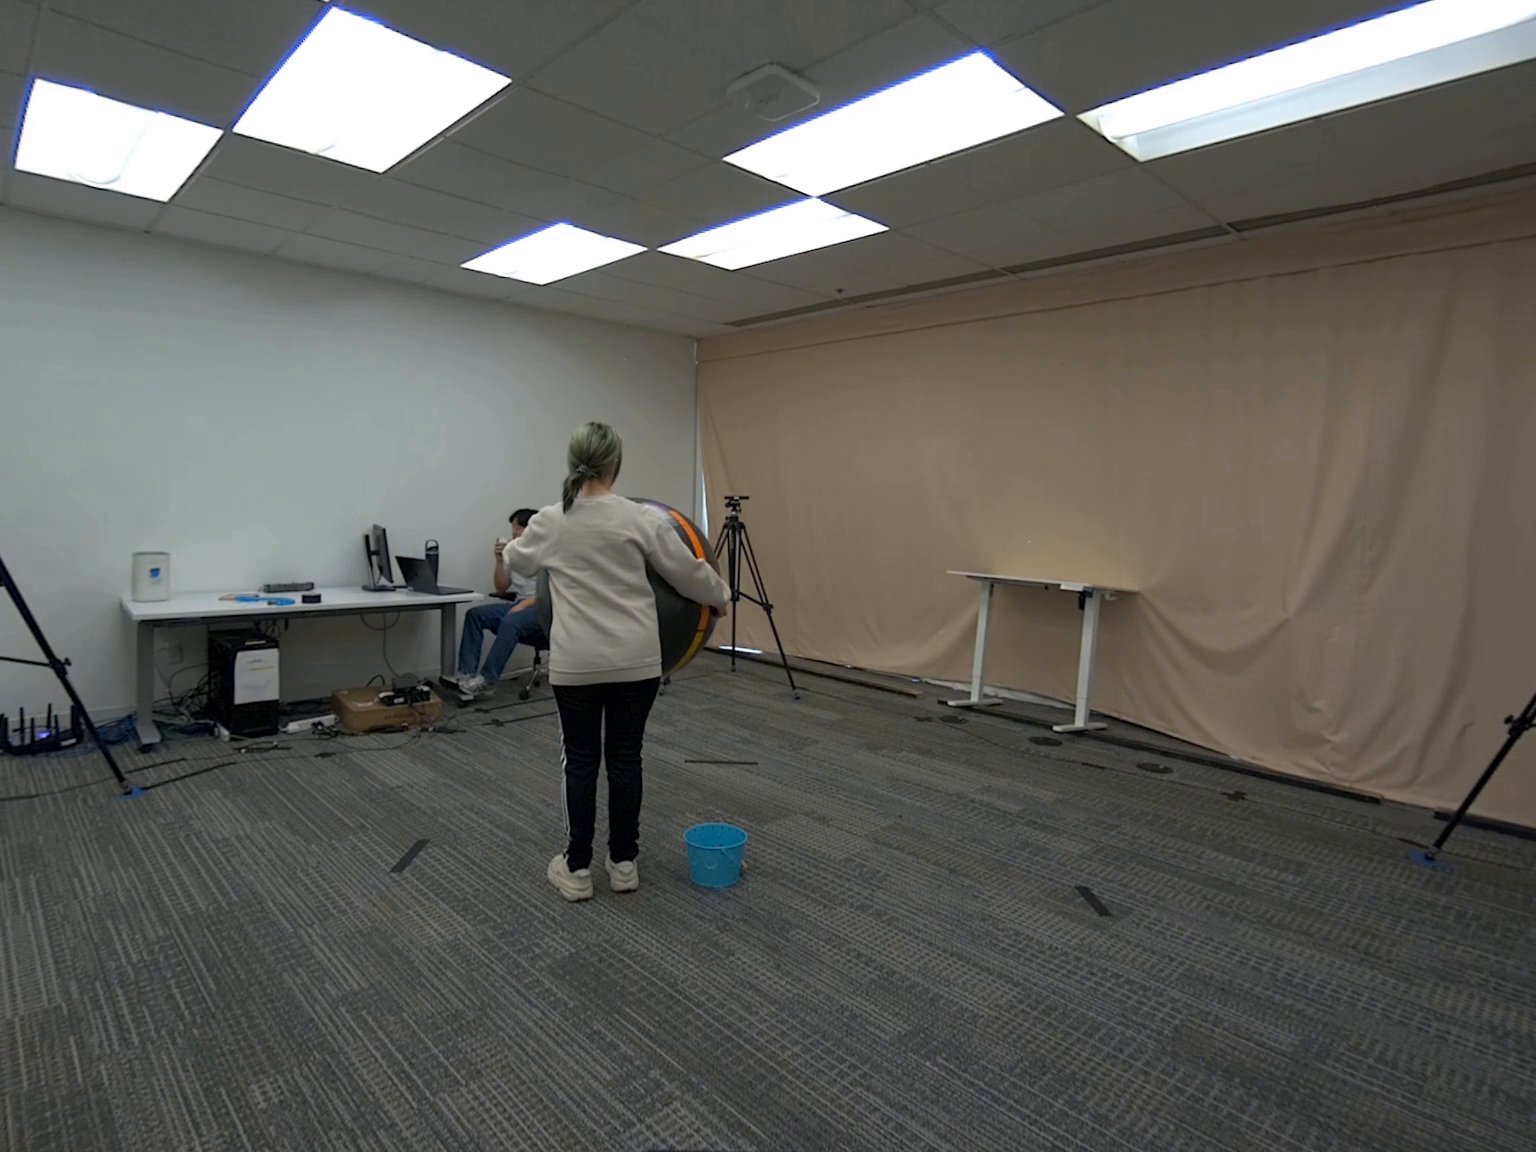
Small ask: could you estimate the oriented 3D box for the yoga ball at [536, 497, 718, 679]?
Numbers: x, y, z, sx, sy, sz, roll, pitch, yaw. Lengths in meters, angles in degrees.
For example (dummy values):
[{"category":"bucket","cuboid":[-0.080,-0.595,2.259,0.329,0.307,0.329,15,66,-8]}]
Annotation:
[{"category":"yoga ball","cuboid":[-0.568,0.067,3.439,0.757,0.756,0.761,1,4,-1]}]
